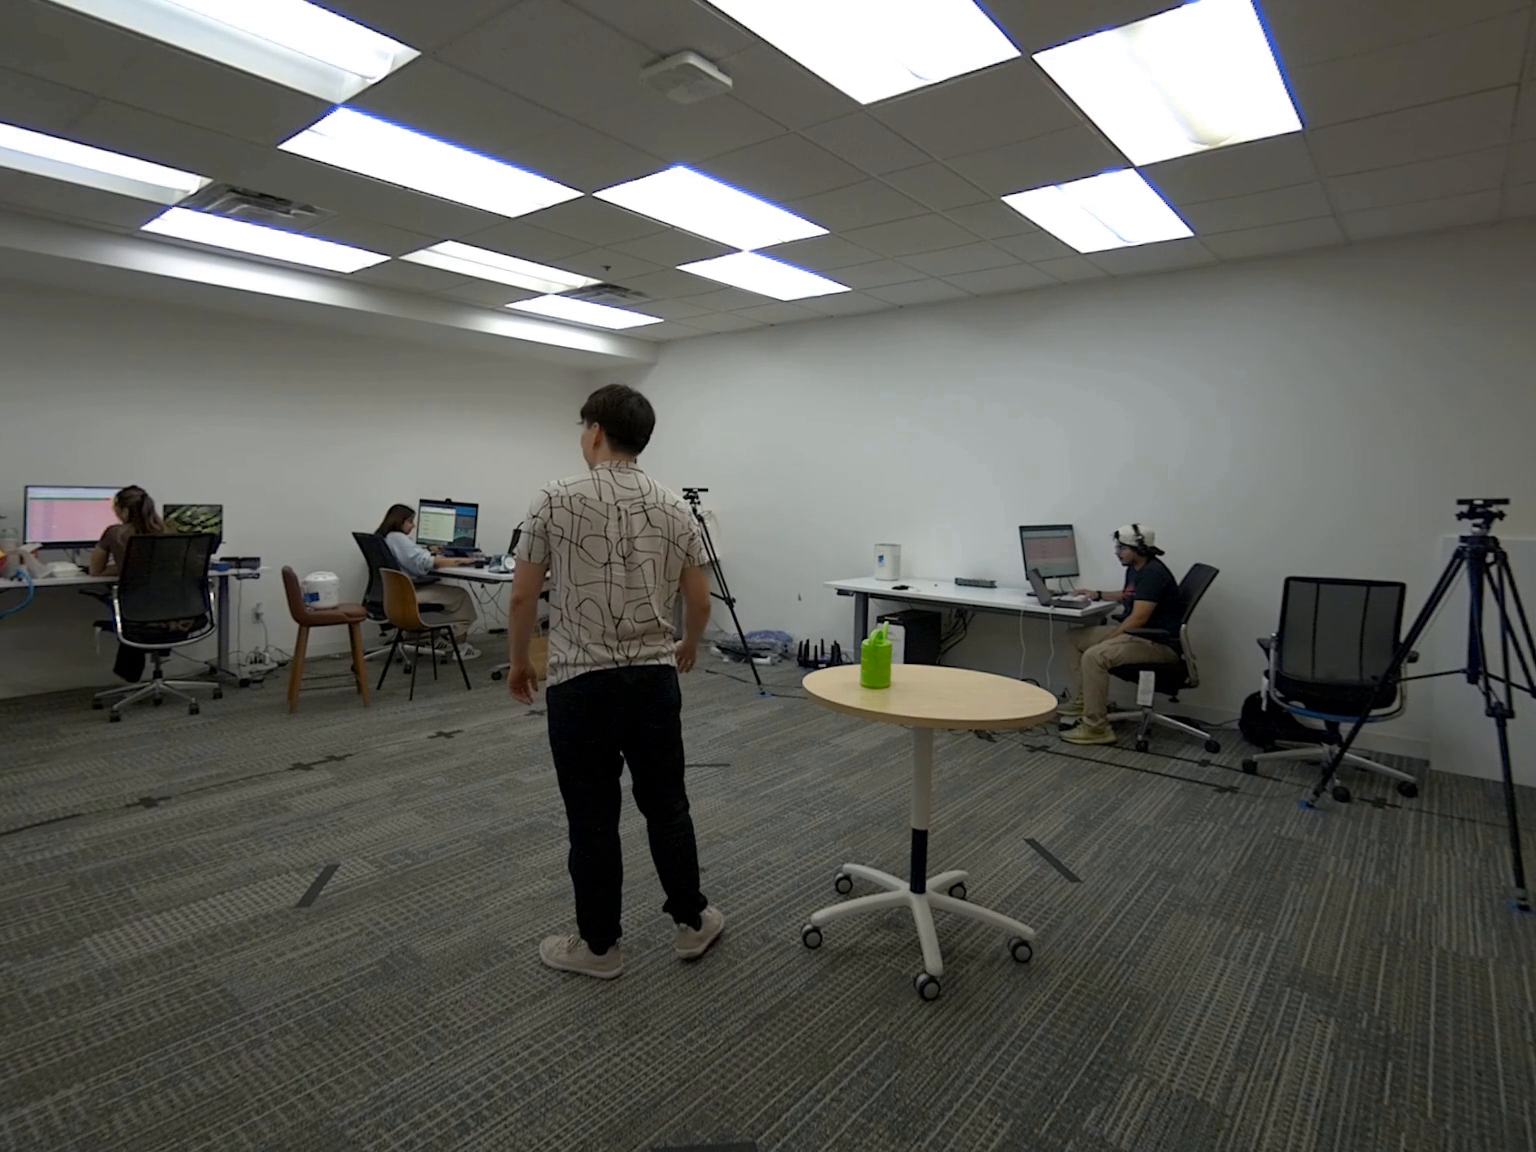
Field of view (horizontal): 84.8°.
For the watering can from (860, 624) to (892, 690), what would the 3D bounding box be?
[{"bbox_3d":[0.360,0.251,2.709,0.101,0.176,0.271,3,6,30],"label":"watering can"}]
